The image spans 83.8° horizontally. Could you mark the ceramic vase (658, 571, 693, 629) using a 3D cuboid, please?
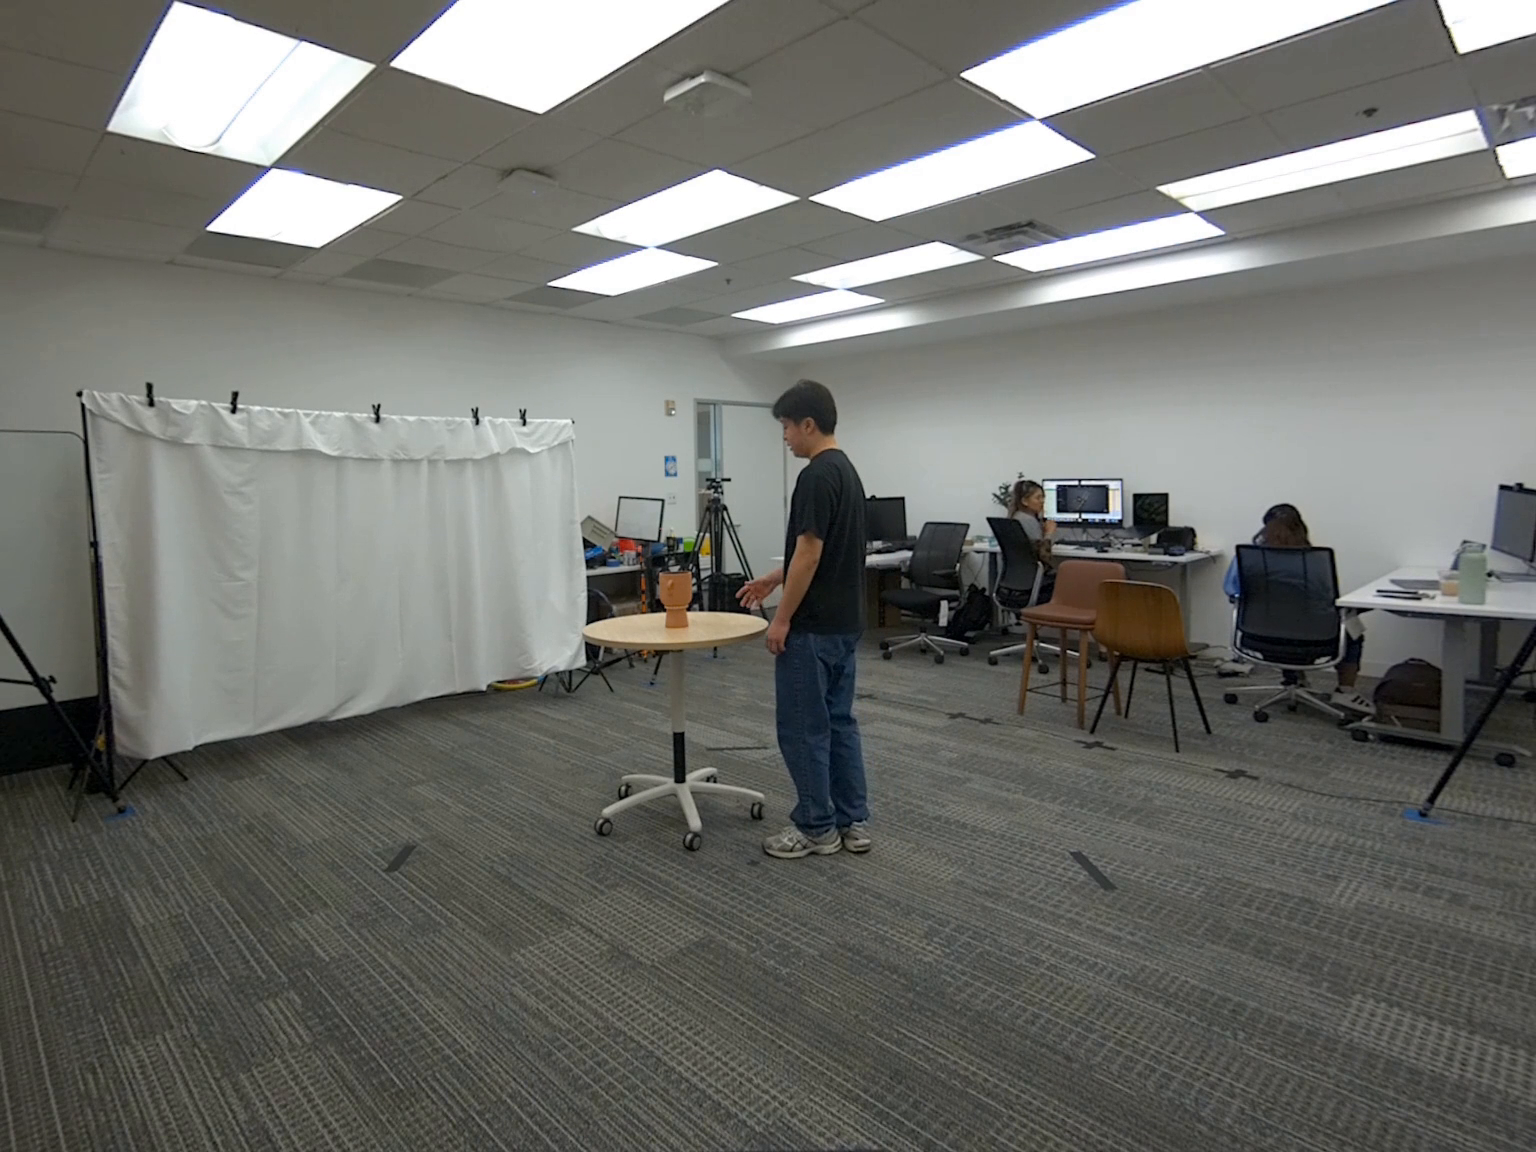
[{"bbox_3d":[-0.372,0.095,3.512,0.154,0.219,0.138,-4,4,-38],"label":"ceramic vase"}]
